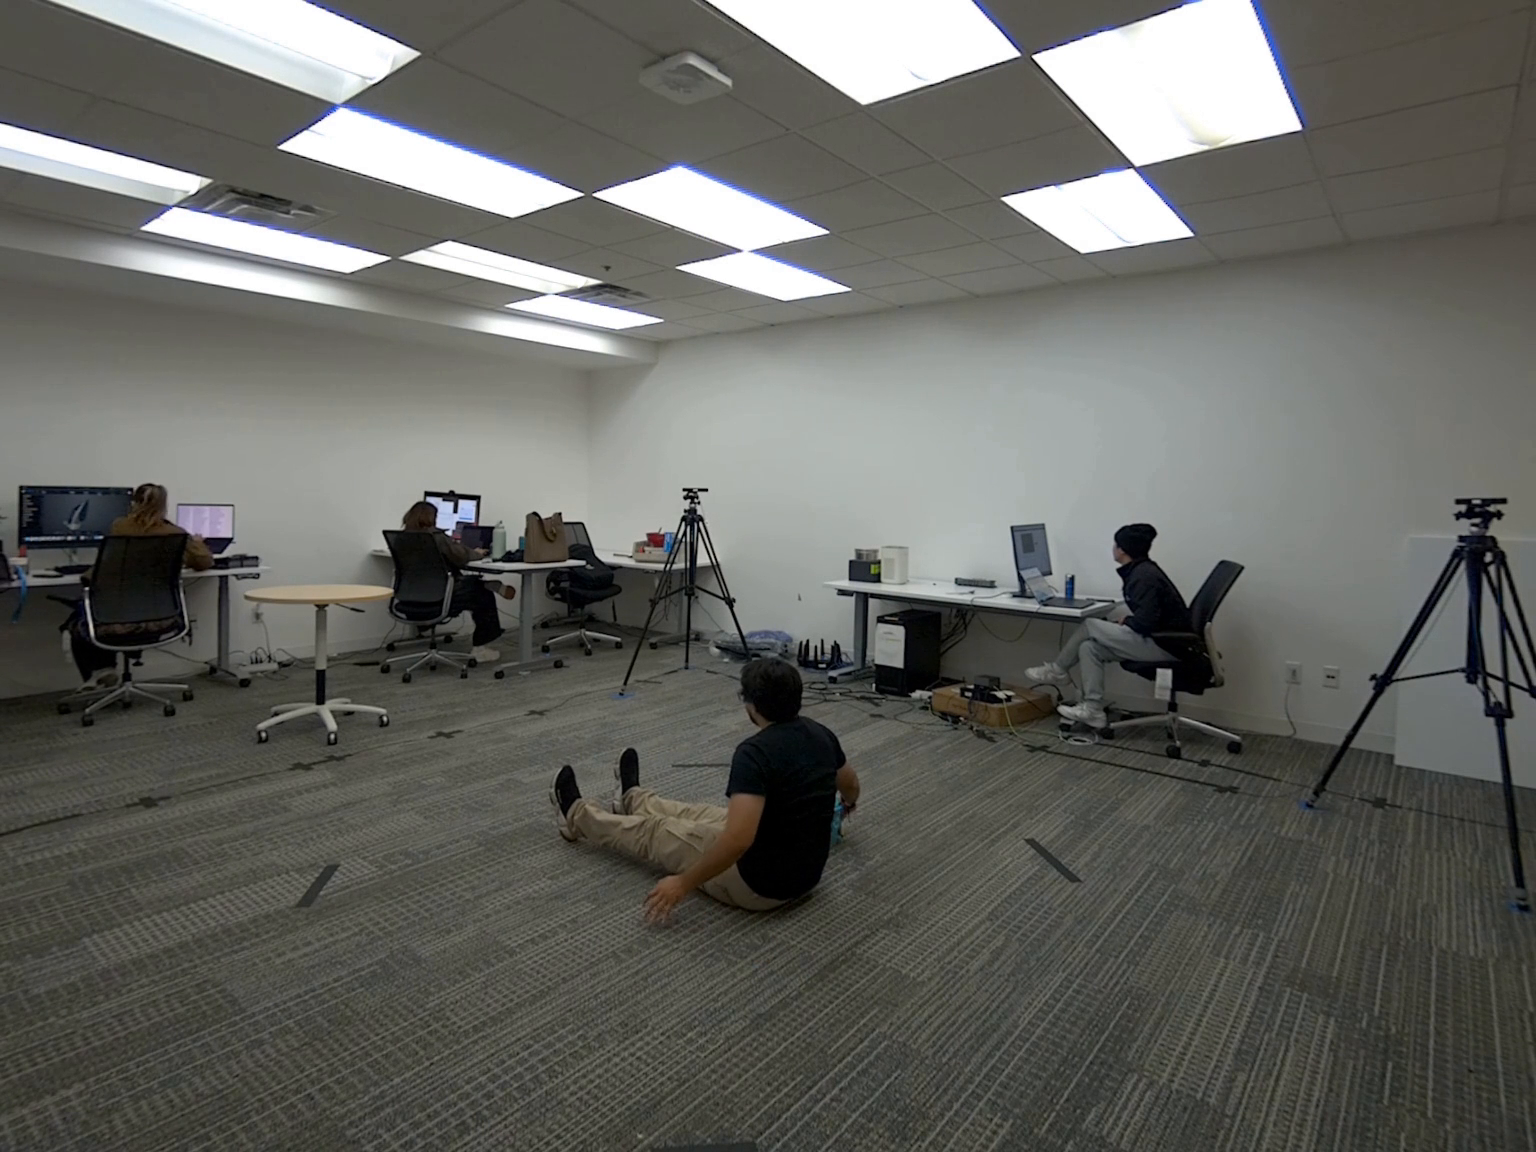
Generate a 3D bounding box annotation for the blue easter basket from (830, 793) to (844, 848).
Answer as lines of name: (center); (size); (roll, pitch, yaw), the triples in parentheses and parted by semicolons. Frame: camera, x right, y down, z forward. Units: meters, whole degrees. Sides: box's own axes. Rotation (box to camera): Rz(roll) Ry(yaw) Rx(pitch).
blue easter basket: (0.189, 0.960, 3.411); (0.243, 0.155, 0.245); (1, 5, -2)
